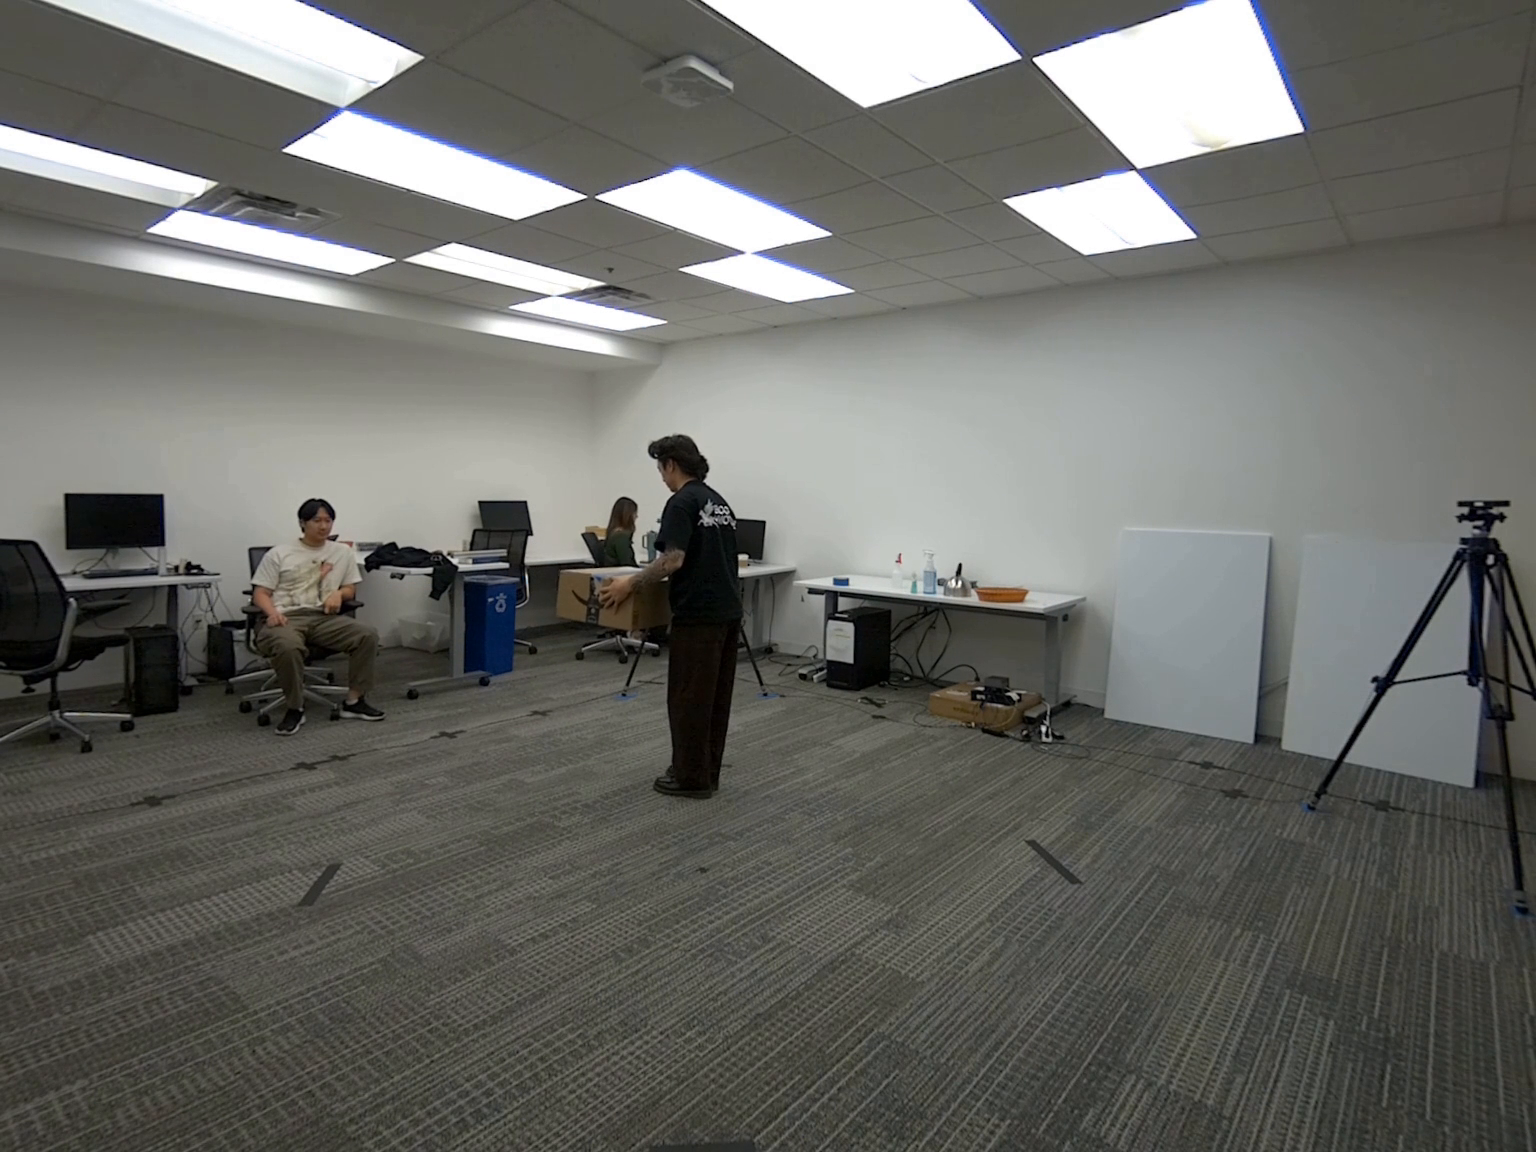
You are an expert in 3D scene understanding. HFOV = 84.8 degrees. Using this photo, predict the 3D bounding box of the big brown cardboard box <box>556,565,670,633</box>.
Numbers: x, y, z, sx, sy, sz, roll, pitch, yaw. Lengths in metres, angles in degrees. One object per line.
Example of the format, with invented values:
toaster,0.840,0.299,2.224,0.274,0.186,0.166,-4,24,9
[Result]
big brown cardboard box,-0.670,0.088,4.040,0.429,0.232,0.575,7,6,24
